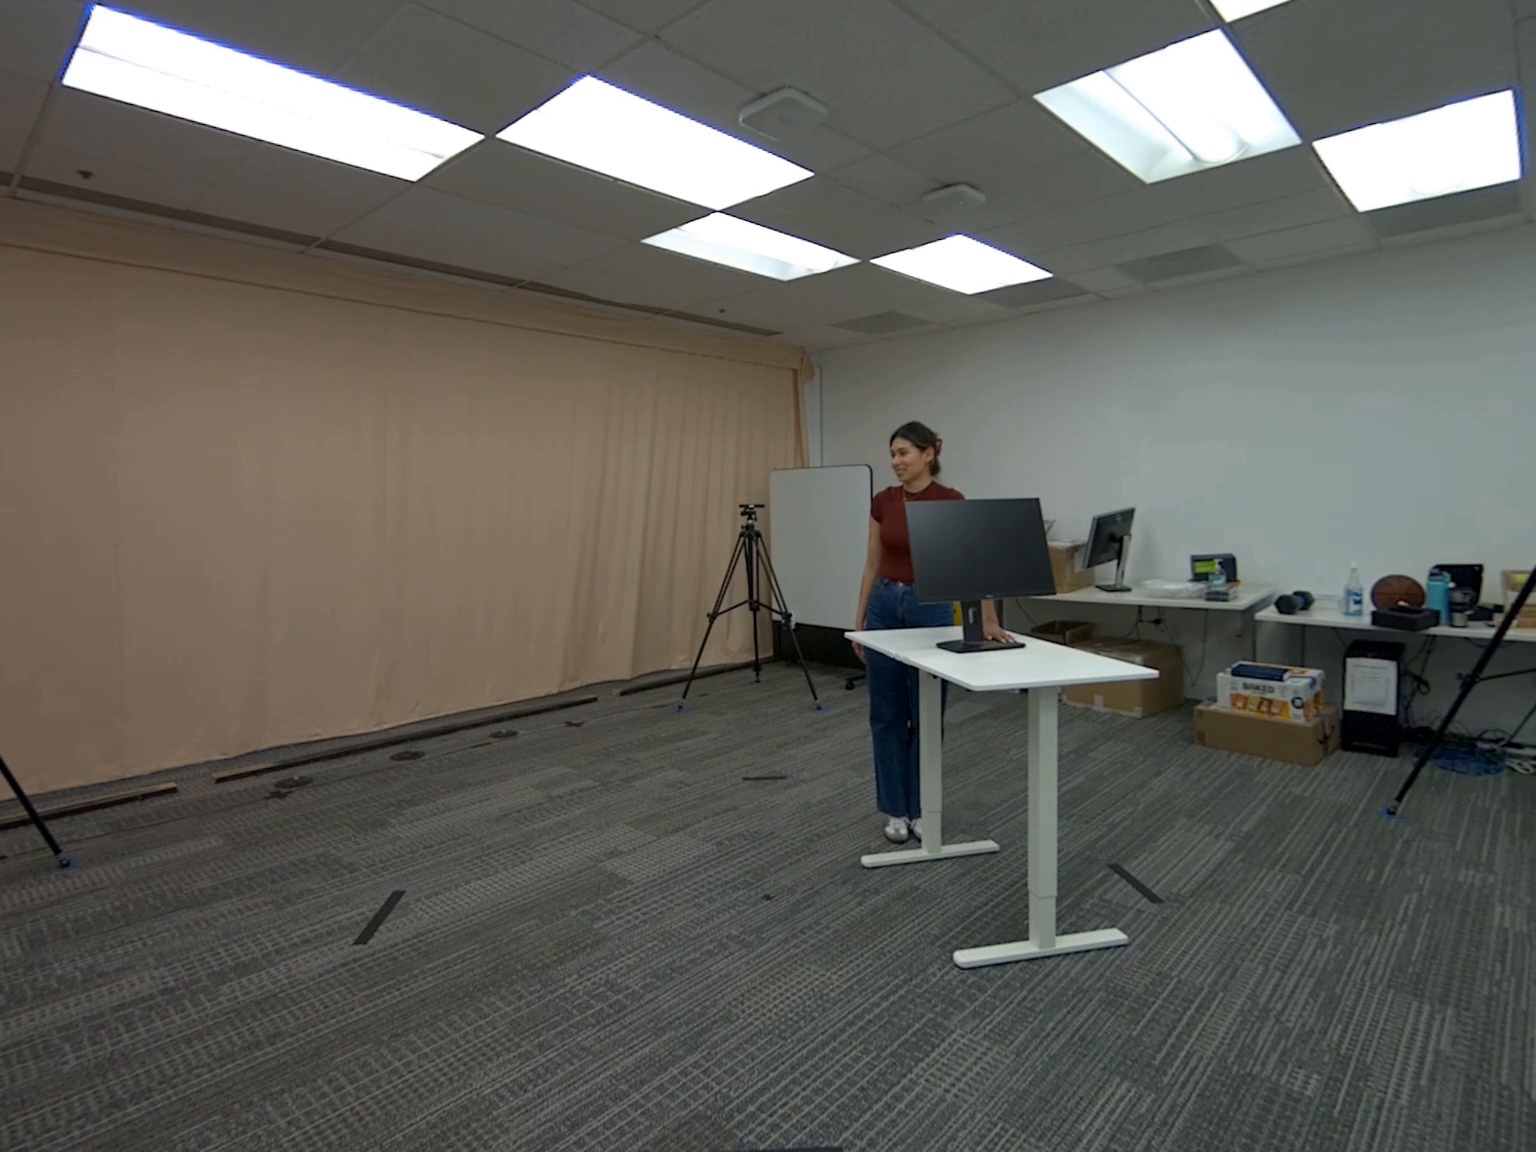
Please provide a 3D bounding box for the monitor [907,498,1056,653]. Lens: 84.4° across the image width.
[{"bbox_3d":[0.734,-0.008,2.940,0.529,0.522,0.191,-4,2,-18],"label":"monitor"}]
